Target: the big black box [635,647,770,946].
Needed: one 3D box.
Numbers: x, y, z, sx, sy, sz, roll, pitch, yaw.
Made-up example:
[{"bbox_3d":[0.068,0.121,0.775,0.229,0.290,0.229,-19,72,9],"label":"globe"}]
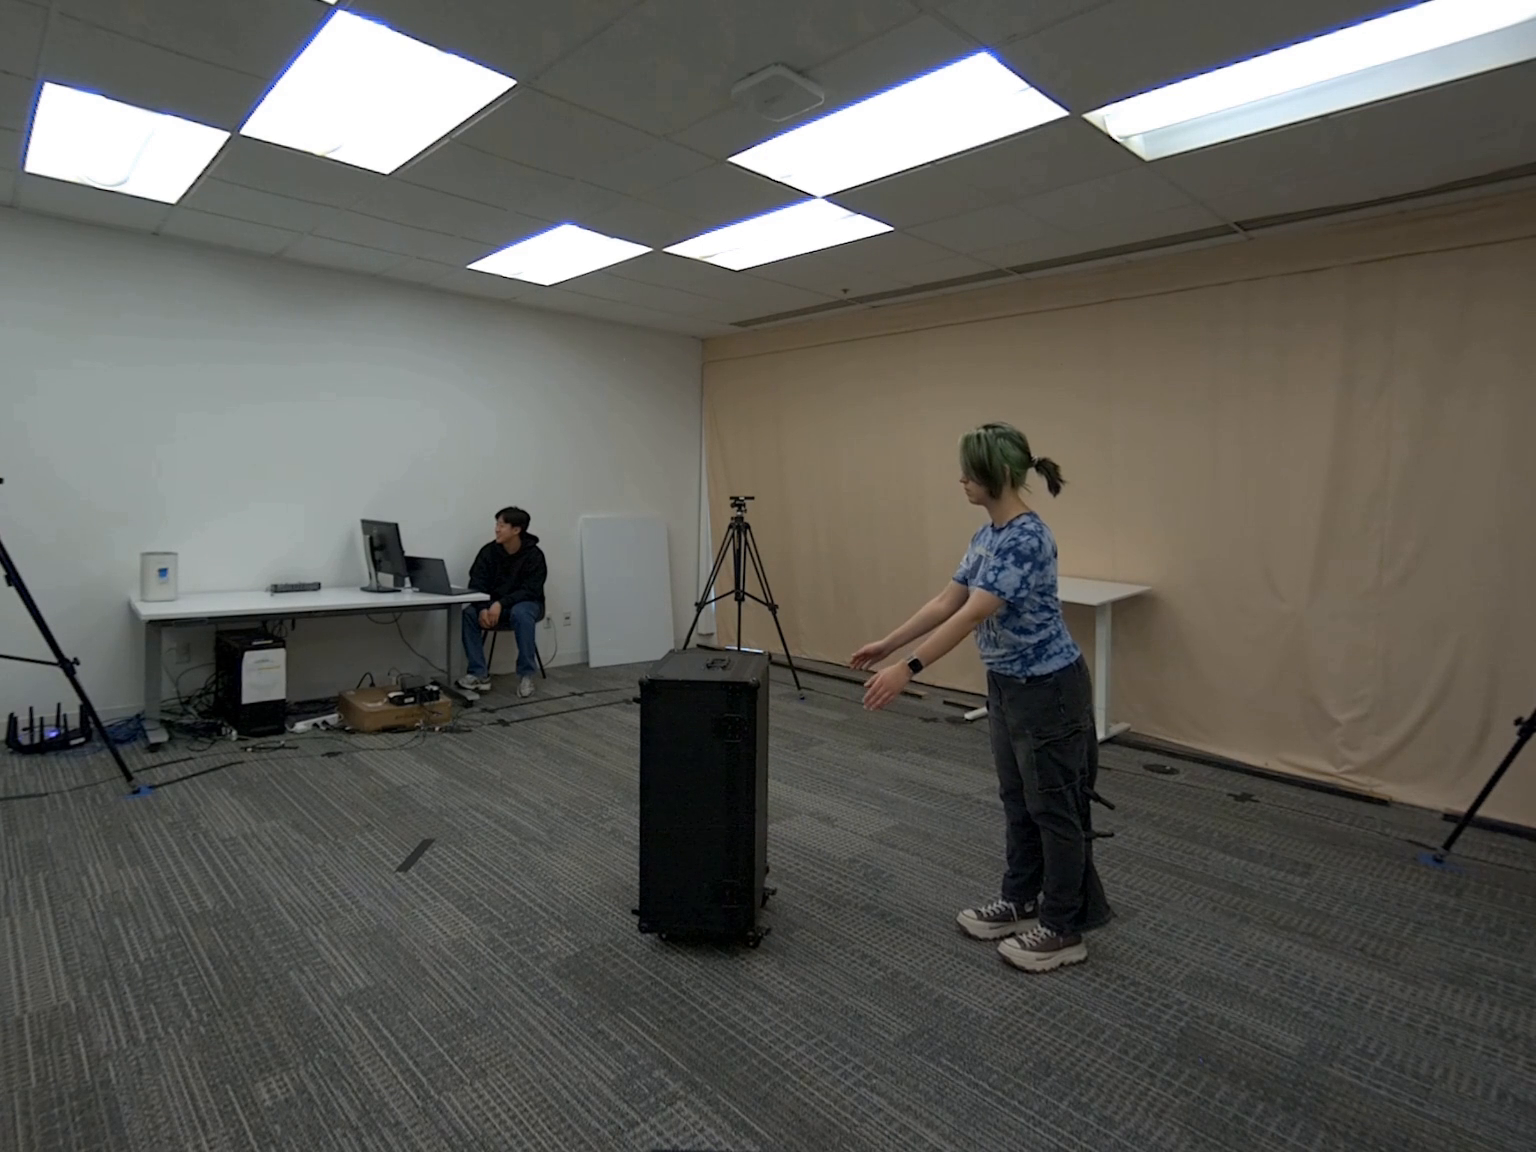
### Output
[{"bbox_3d":[-0.203,0.713,2.736,0.398,0.860,0.519,0,3,6],"label":"big black box"}]
